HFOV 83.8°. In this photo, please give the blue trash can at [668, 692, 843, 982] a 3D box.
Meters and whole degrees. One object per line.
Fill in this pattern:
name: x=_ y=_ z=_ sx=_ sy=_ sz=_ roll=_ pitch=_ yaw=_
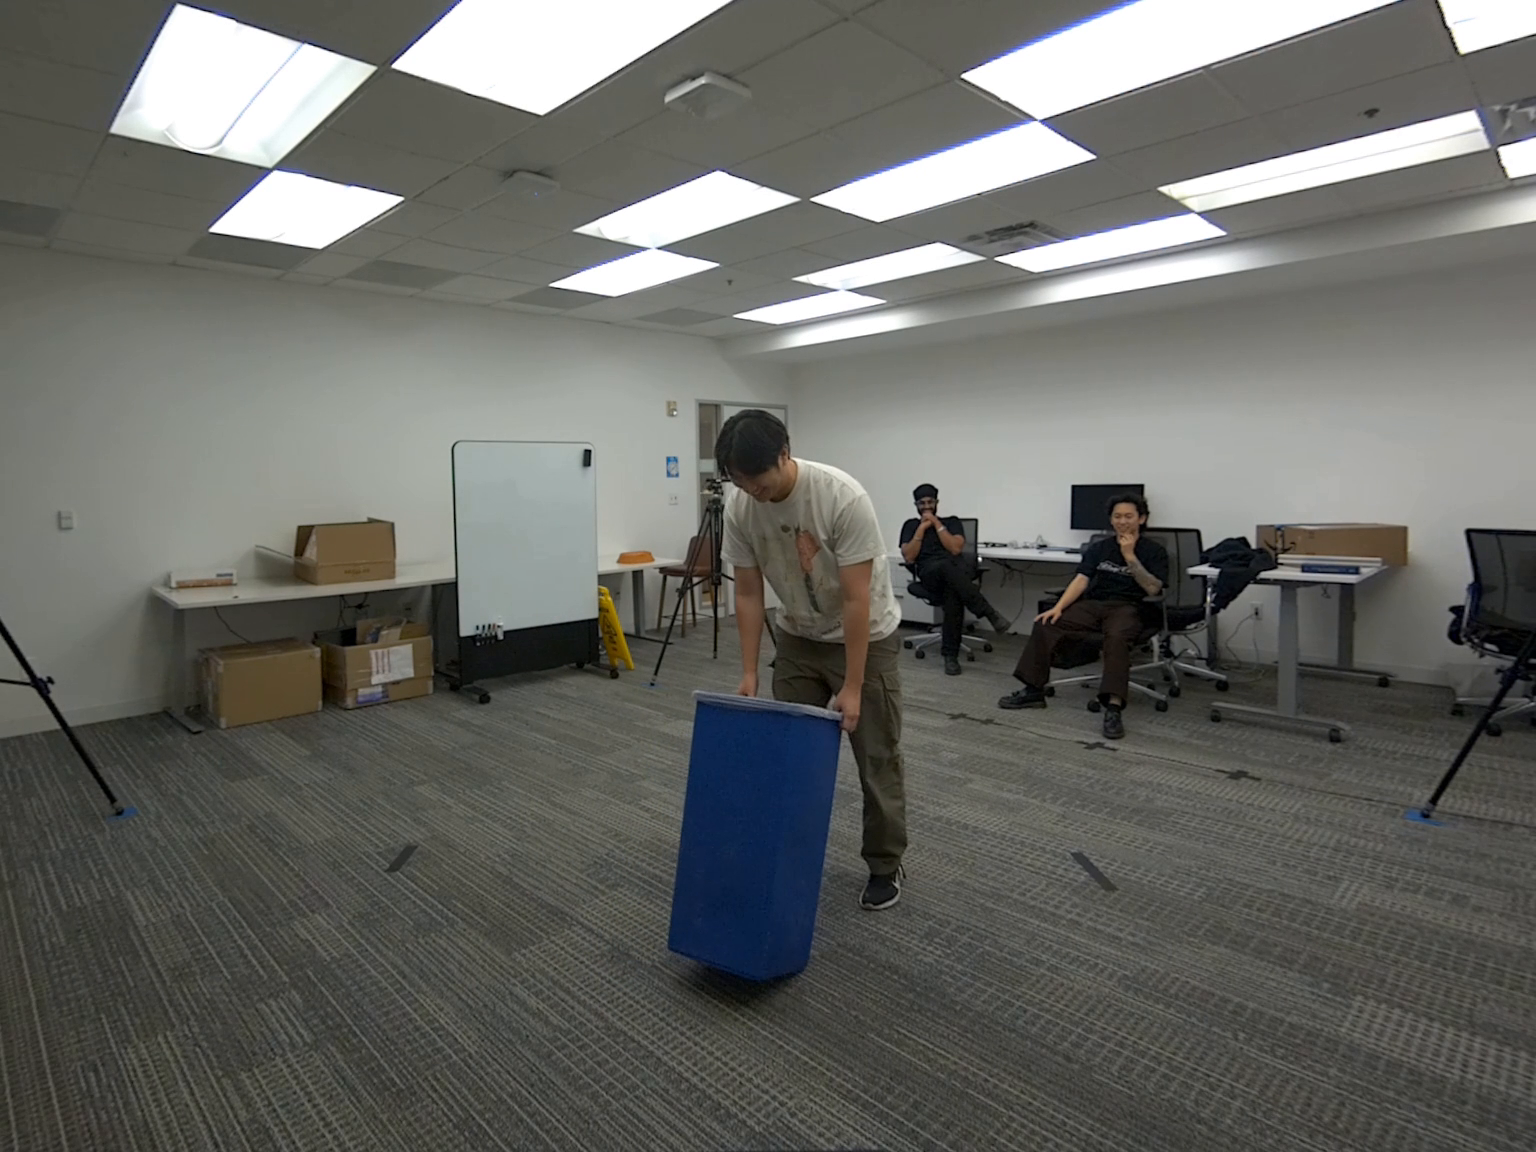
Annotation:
blue trash can: x=-0.032 y=0.729 z=2.477 sx=0.388 sy=0.721 sz=0.360 roll=0 pitch=-16 yaw=32
